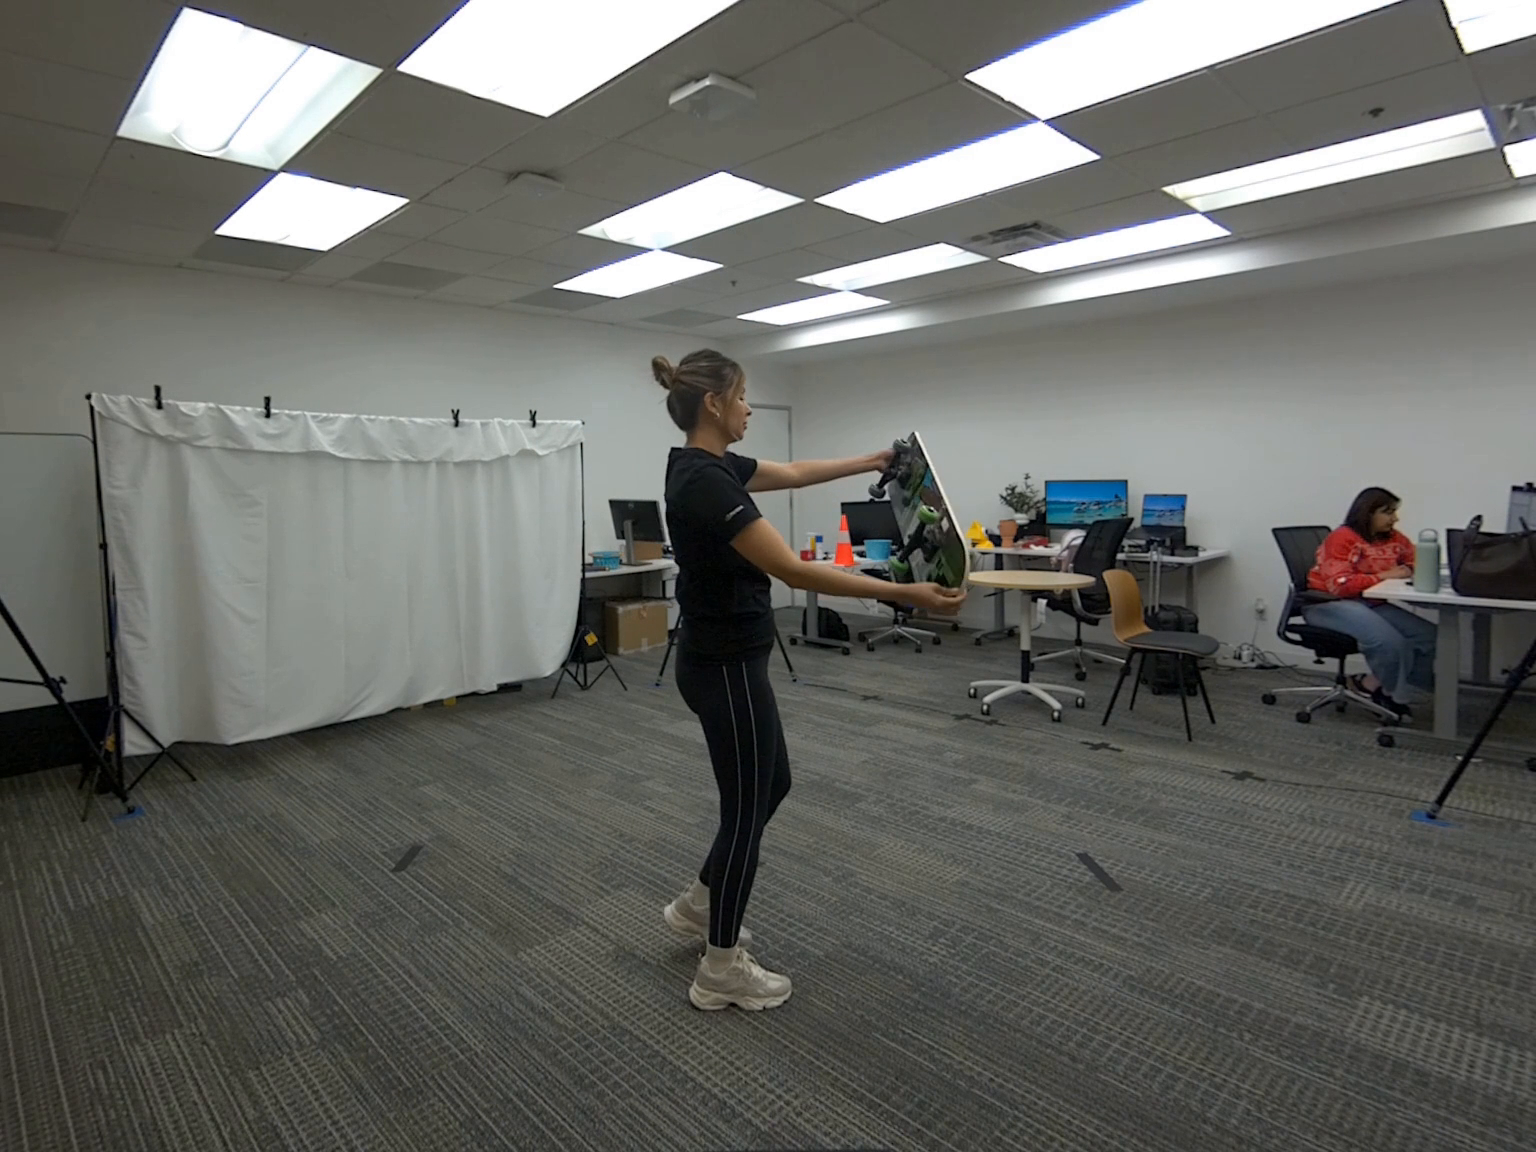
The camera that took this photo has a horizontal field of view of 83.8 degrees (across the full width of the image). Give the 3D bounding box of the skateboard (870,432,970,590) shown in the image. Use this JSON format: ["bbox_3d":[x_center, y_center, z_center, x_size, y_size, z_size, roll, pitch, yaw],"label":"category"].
[{"bbox_3d":[0.380,-0.185,2.254,0.109,0.191,0.805,16,31,-12],"label":"skateboard"}]
